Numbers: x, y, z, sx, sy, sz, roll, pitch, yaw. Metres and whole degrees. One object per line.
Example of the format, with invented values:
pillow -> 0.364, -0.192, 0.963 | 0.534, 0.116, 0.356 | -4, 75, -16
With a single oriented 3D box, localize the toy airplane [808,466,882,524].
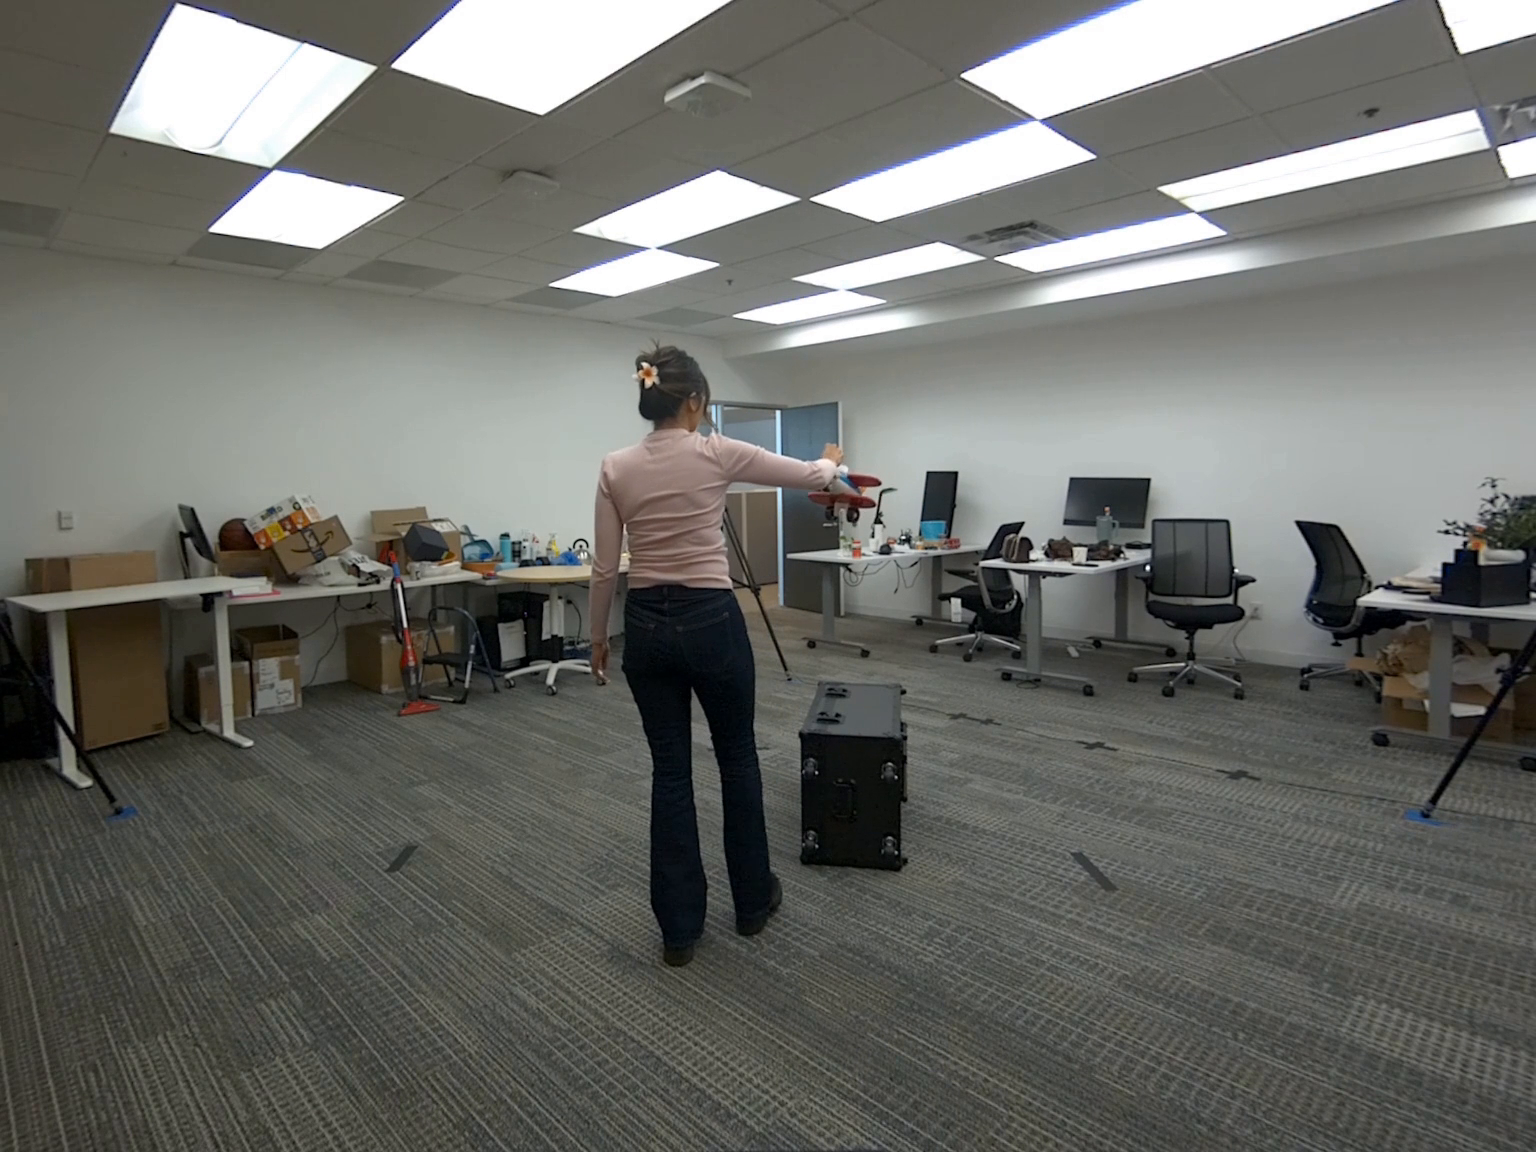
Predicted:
toy airplane -> 0.261, -0.299, 2.934 | 0.254, 0.158, 0.253 | 21, -25, 9
